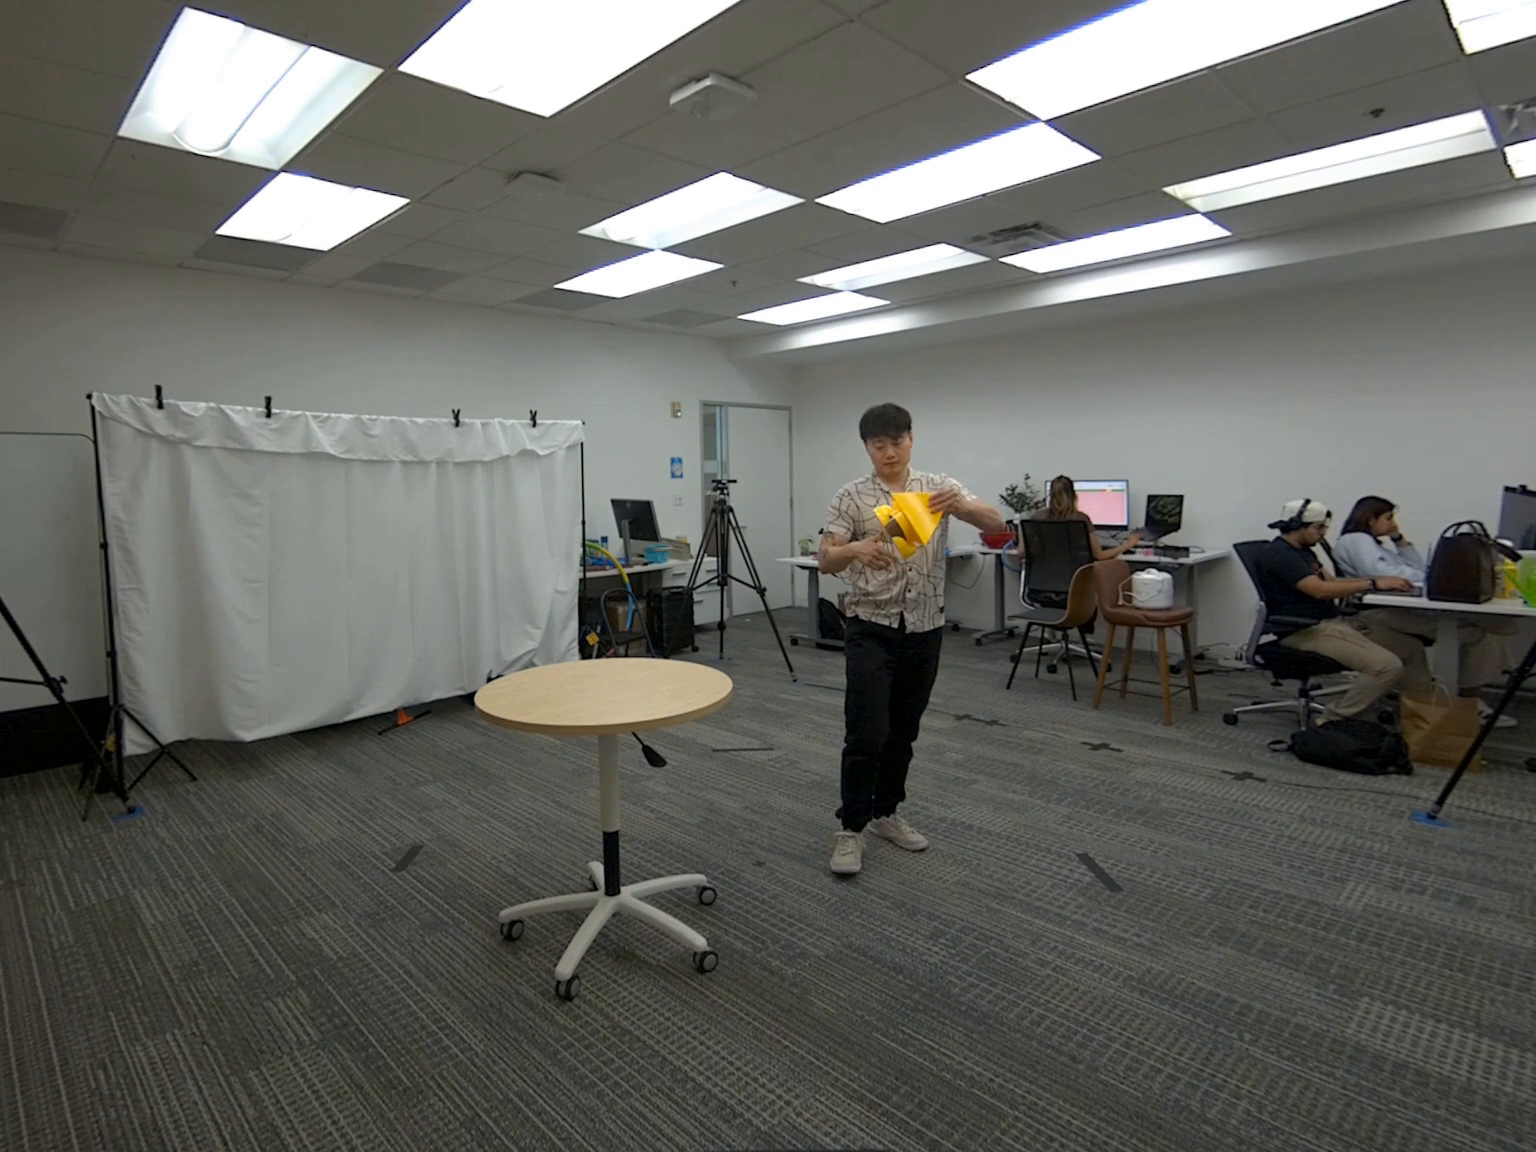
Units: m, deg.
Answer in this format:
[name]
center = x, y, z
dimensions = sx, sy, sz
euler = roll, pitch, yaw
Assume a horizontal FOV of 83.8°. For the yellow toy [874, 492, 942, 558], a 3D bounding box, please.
[yellow toy]
center = 0.510, -0.195, 2.914
dimensions = 0.231, 0.208, 0.189
euler = -33, -12, 8
